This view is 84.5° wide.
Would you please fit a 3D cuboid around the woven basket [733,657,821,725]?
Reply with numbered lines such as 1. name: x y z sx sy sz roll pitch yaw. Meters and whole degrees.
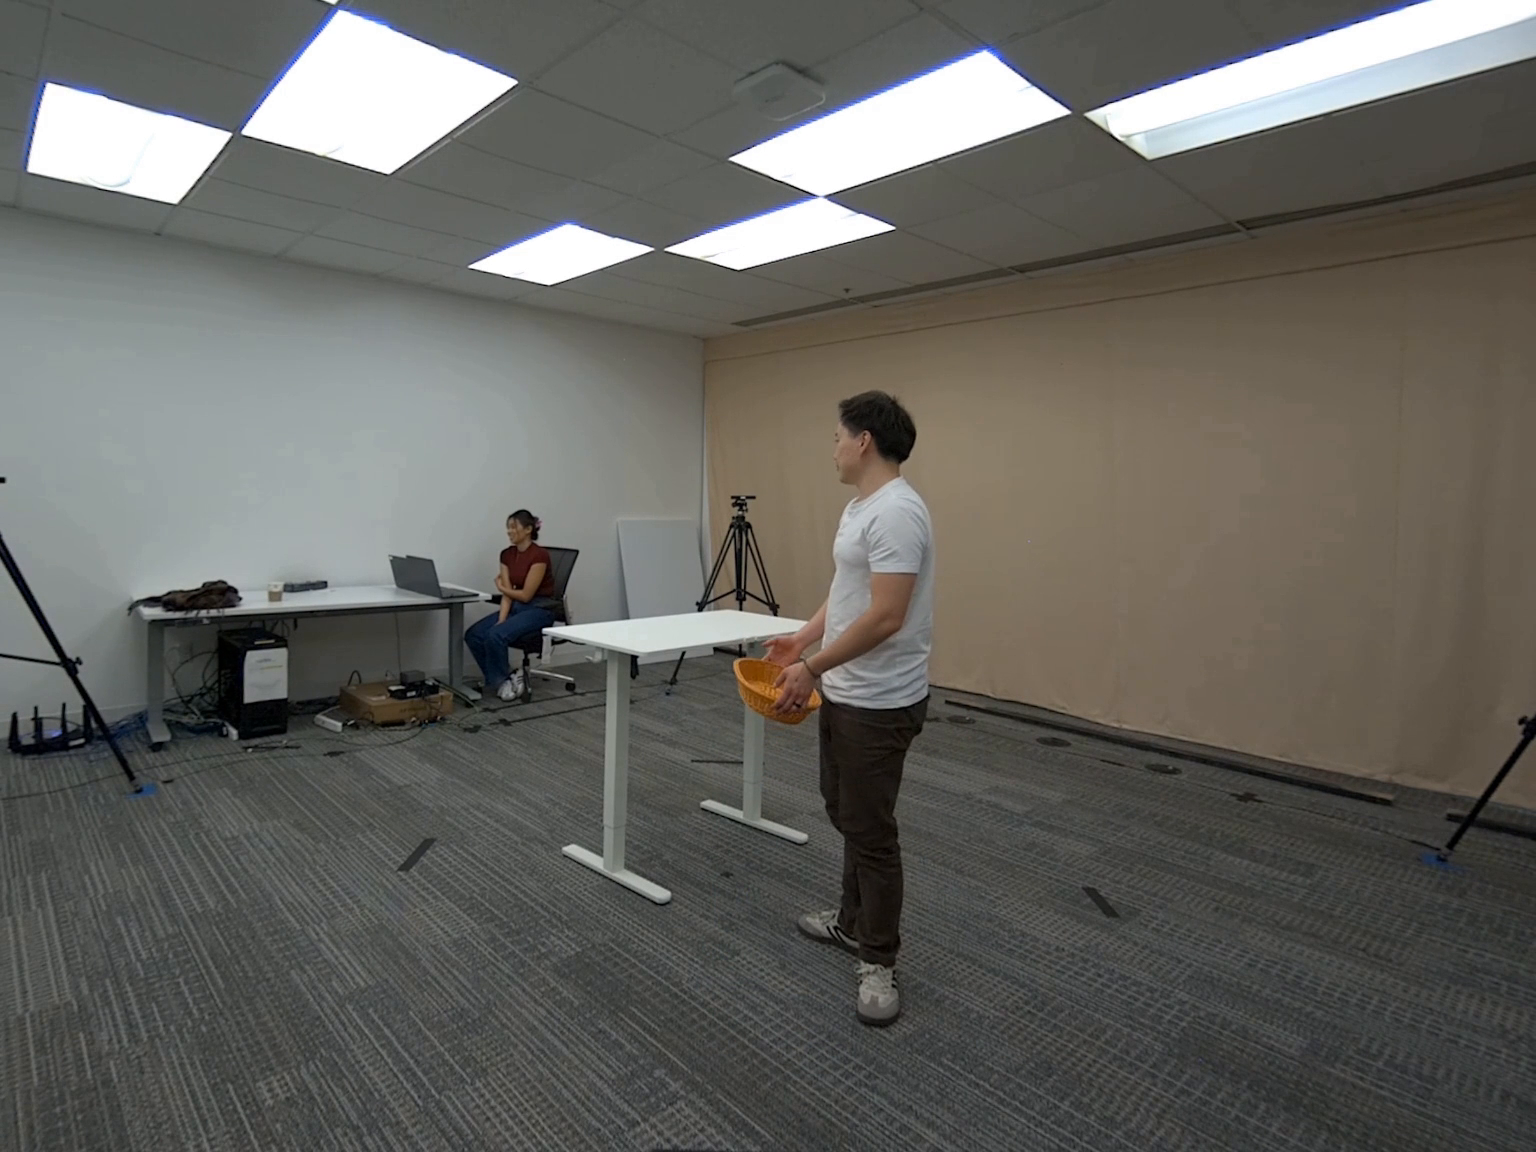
1. woven basket: 0.021 0.336 2.348 0.254 0.073 0.350 19 9 4
